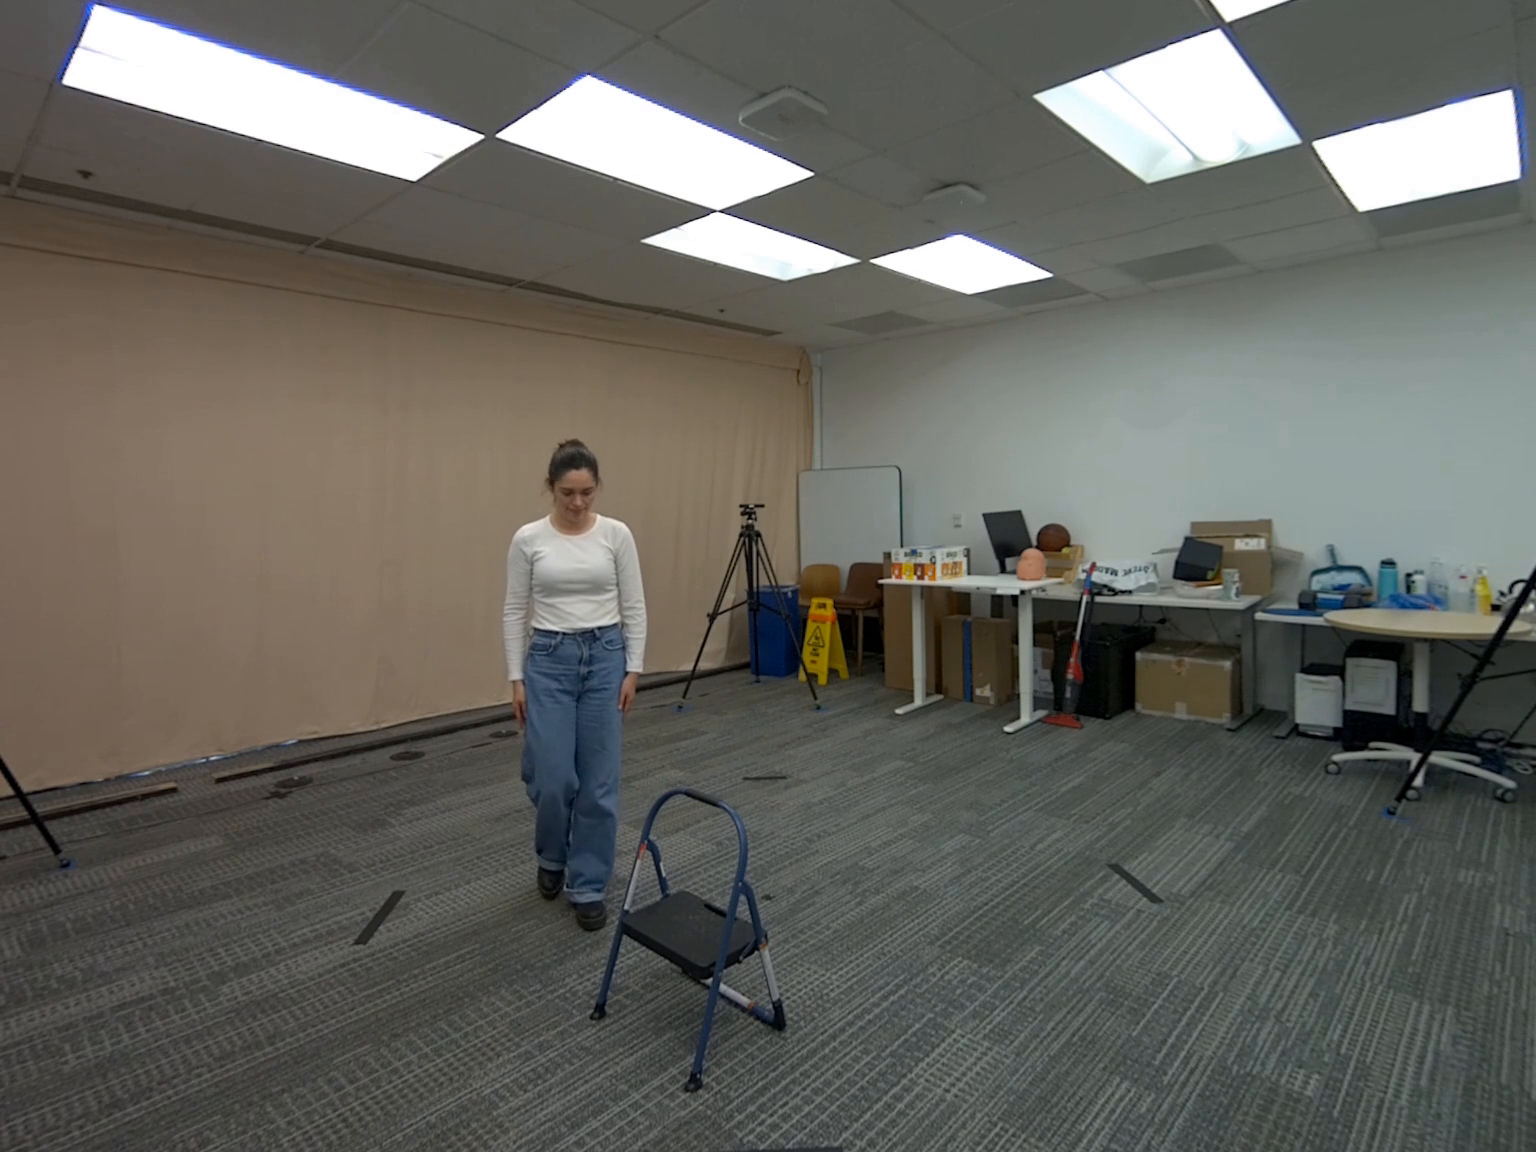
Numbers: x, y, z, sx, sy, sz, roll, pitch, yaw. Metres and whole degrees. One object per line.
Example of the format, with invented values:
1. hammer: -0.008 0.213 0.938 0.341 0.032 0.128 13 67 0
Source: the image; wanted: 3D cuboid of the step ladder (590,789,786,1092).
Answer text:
1. step ladder: -0.217 0.905 2.249 0.445 0.604 0.339 3 6 44
